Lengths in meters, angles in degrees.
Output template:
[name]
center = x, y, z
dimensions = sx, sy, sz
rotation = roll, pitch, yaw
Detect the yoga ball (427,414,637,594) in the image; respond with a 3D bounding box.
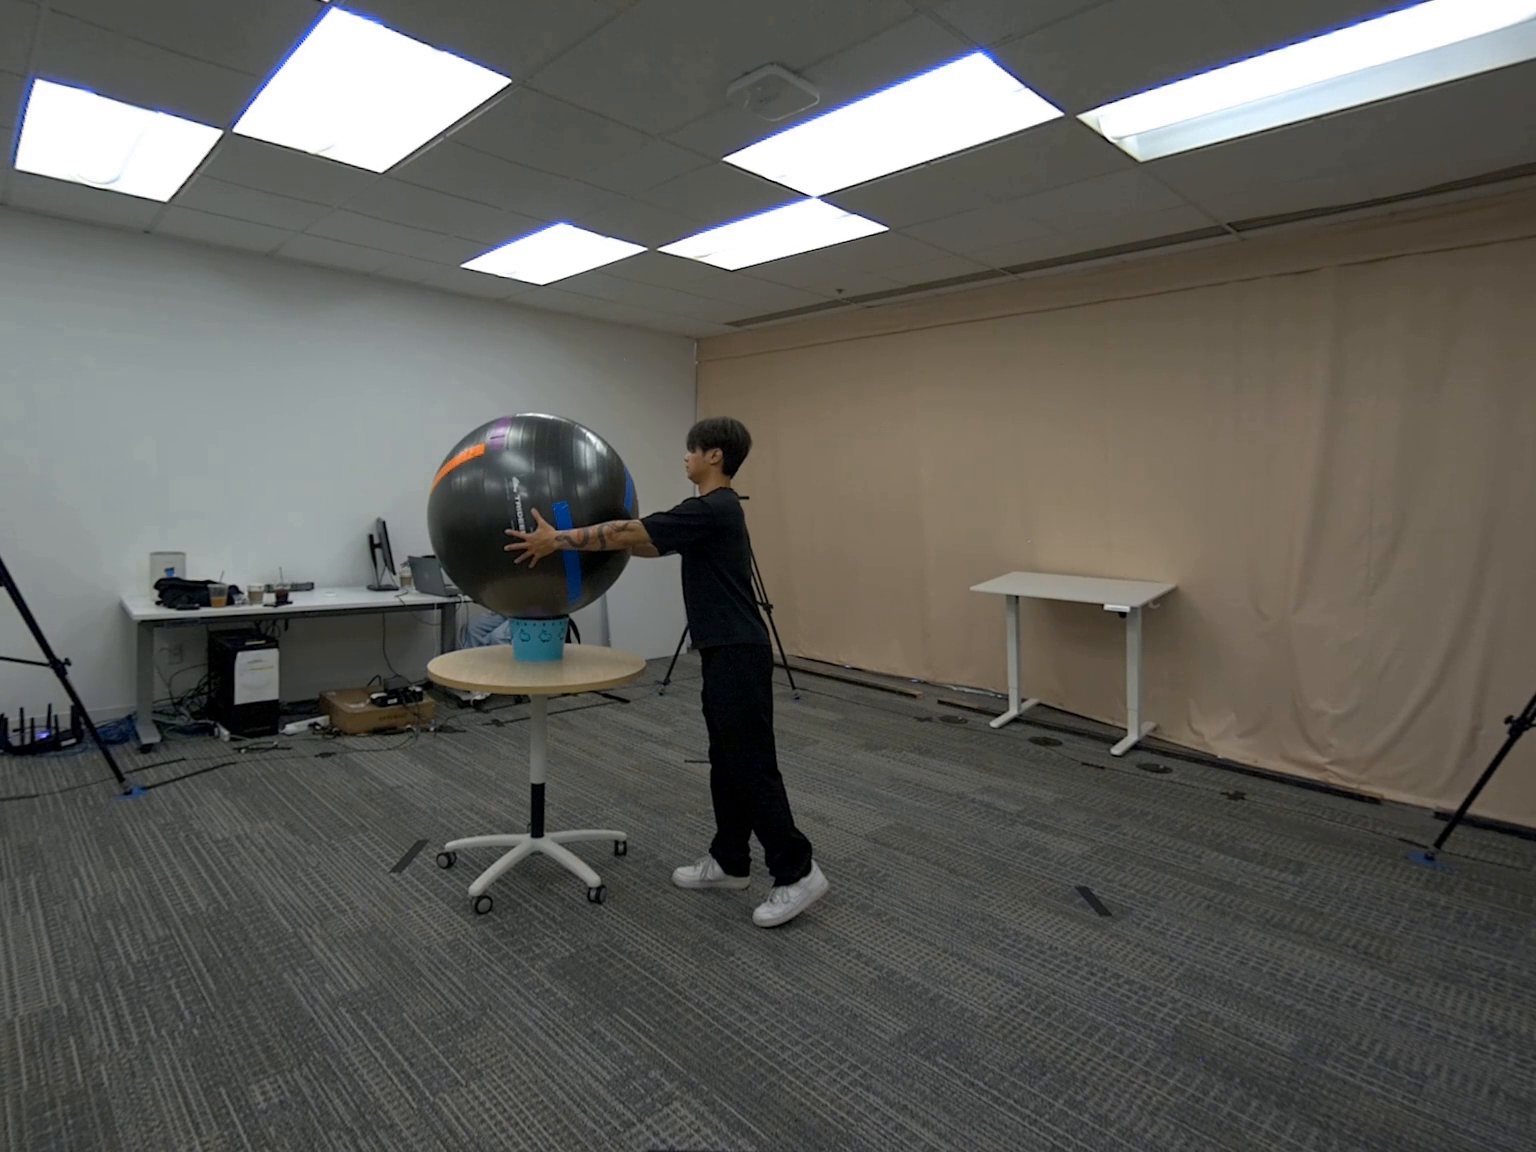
[yoga ball]
center = -0.874, -0.221, 3.117
dimensions = 0.757, 0.756, 0.761
rotation = 1, 4, -1
